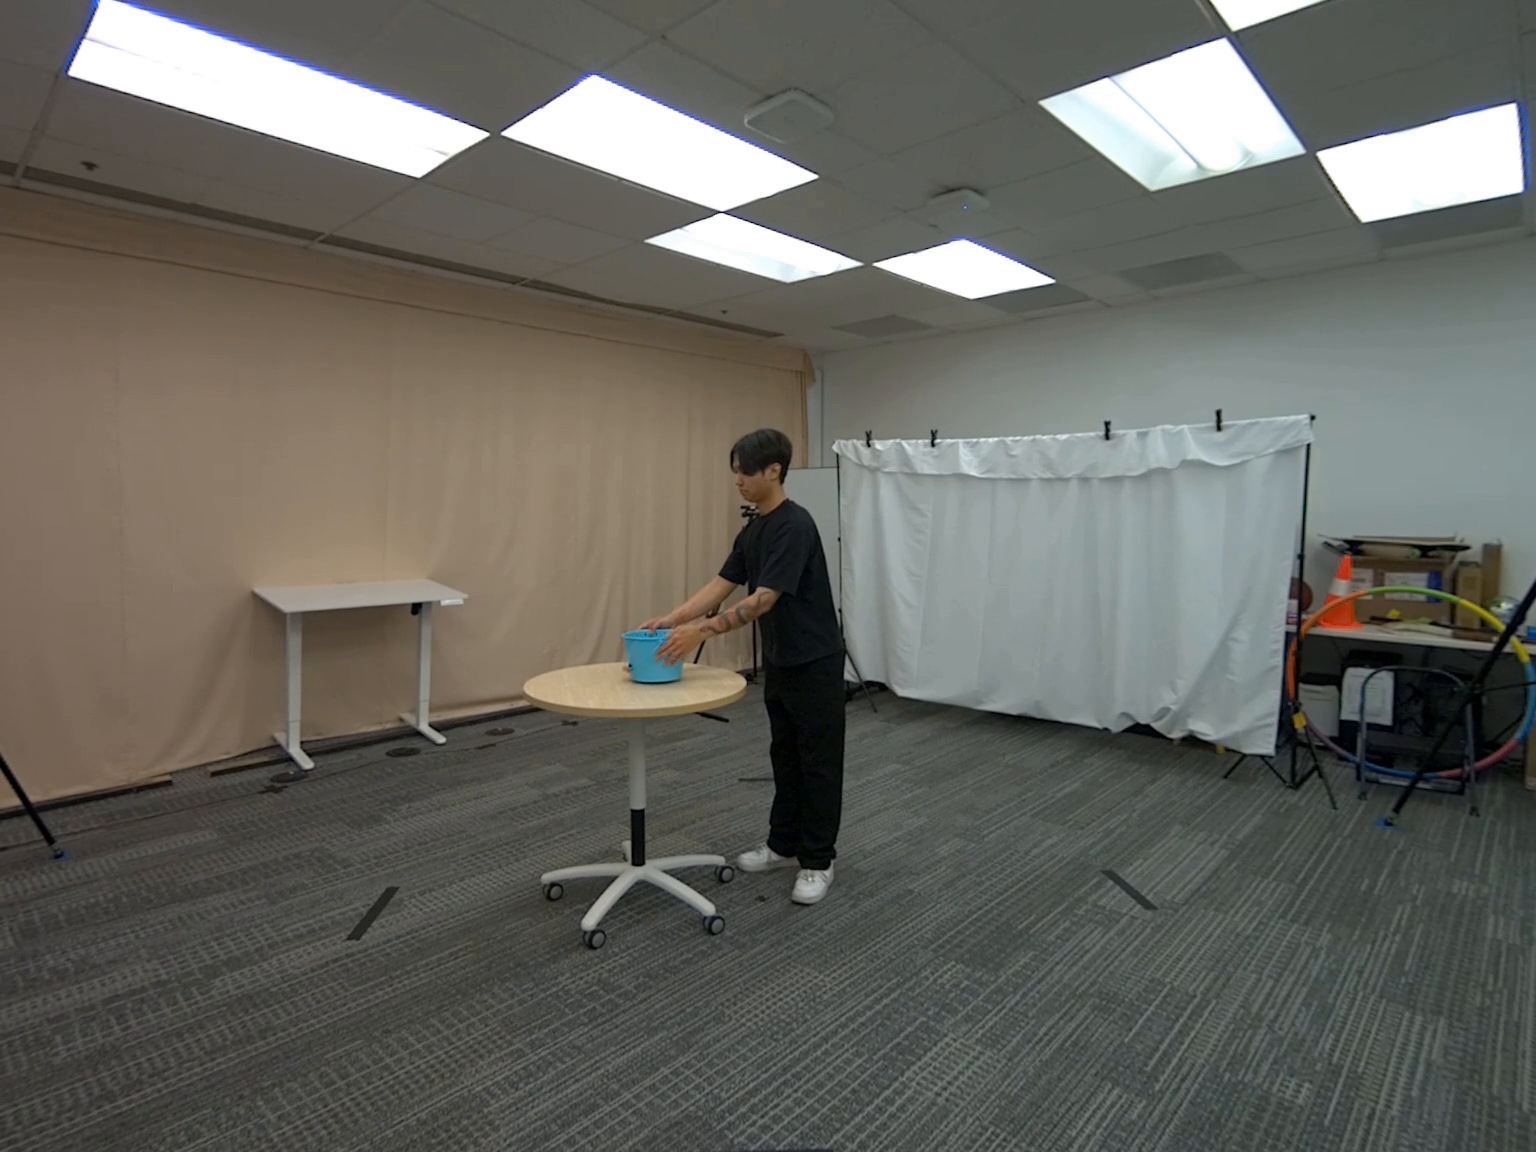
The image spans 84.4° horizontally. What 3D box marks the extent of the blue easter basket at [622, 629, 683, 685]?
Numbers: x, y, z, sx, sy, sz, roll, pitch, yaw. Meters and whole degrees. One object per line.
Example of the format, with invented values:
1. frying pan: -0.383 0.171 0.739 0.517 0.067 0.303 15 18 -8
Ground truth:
1. blue easter basket: -0.395 0.286 2.948 0.243 0.155 0.244 -2 4 -2
